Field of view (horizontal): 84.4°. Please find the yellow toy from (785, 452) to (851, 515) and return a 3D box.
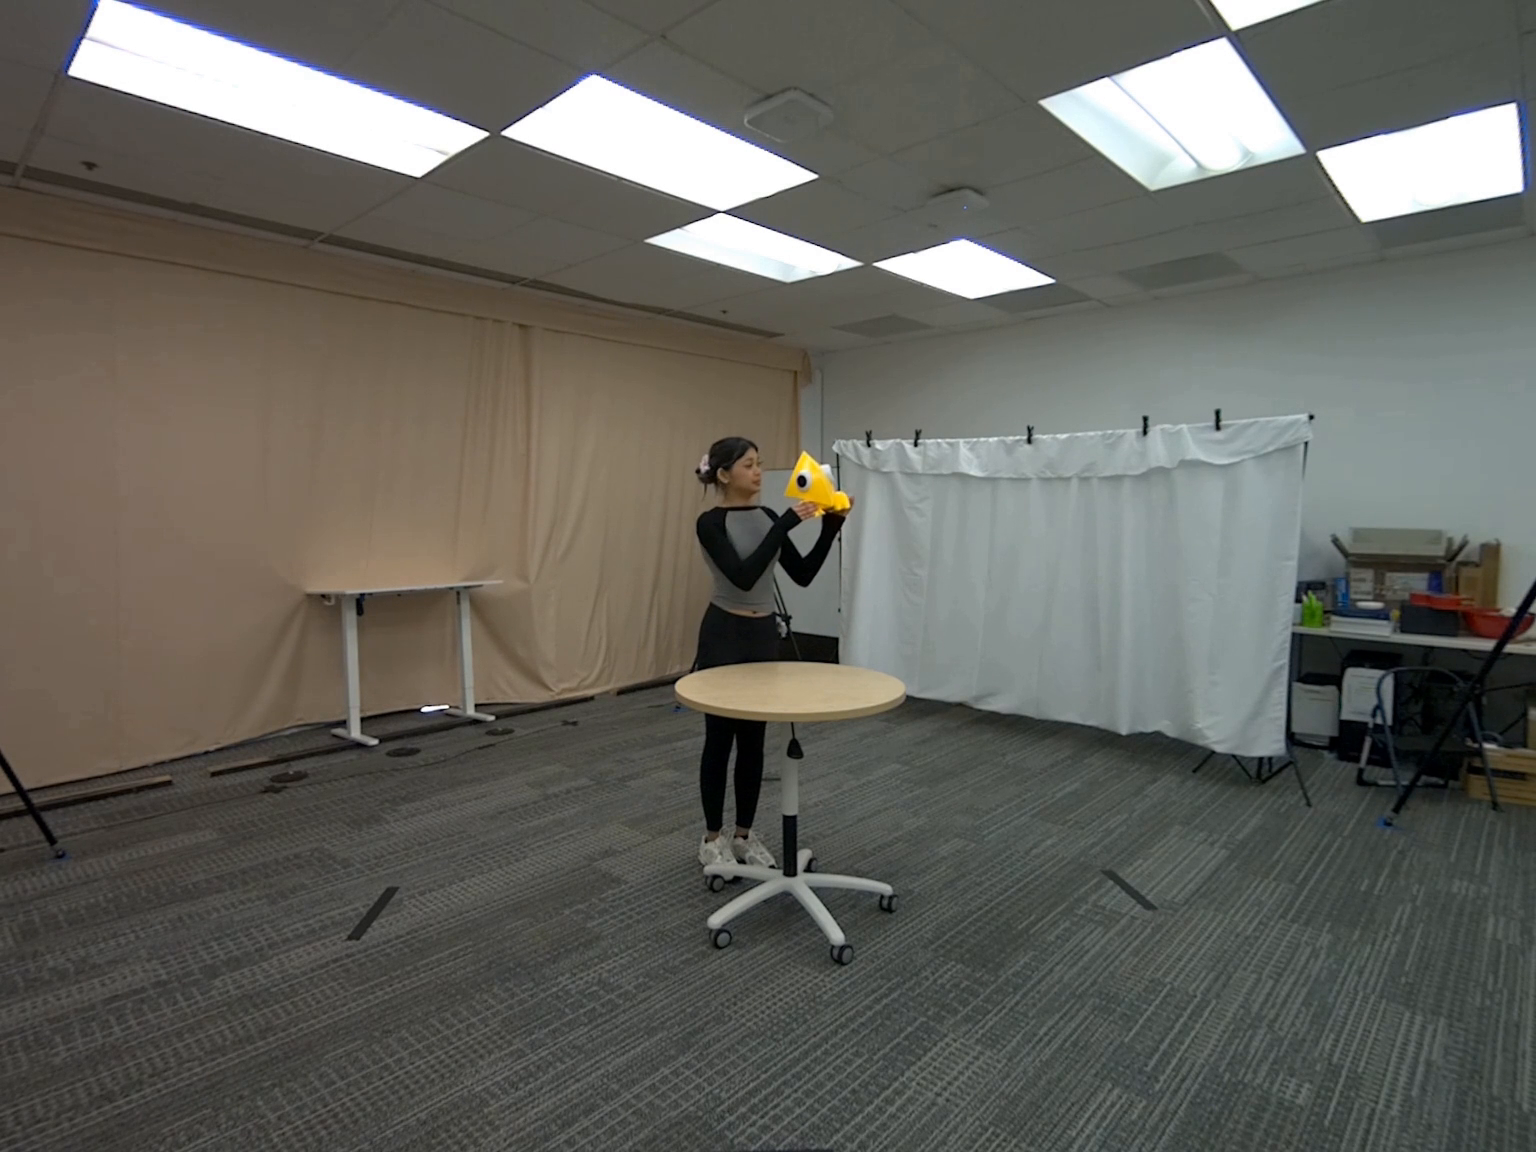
[{"bbox_3d":[0.185,-0.353,3.145,0.201,0.229,0.198,-14,11,-20],"label":"yellow toy"}]
